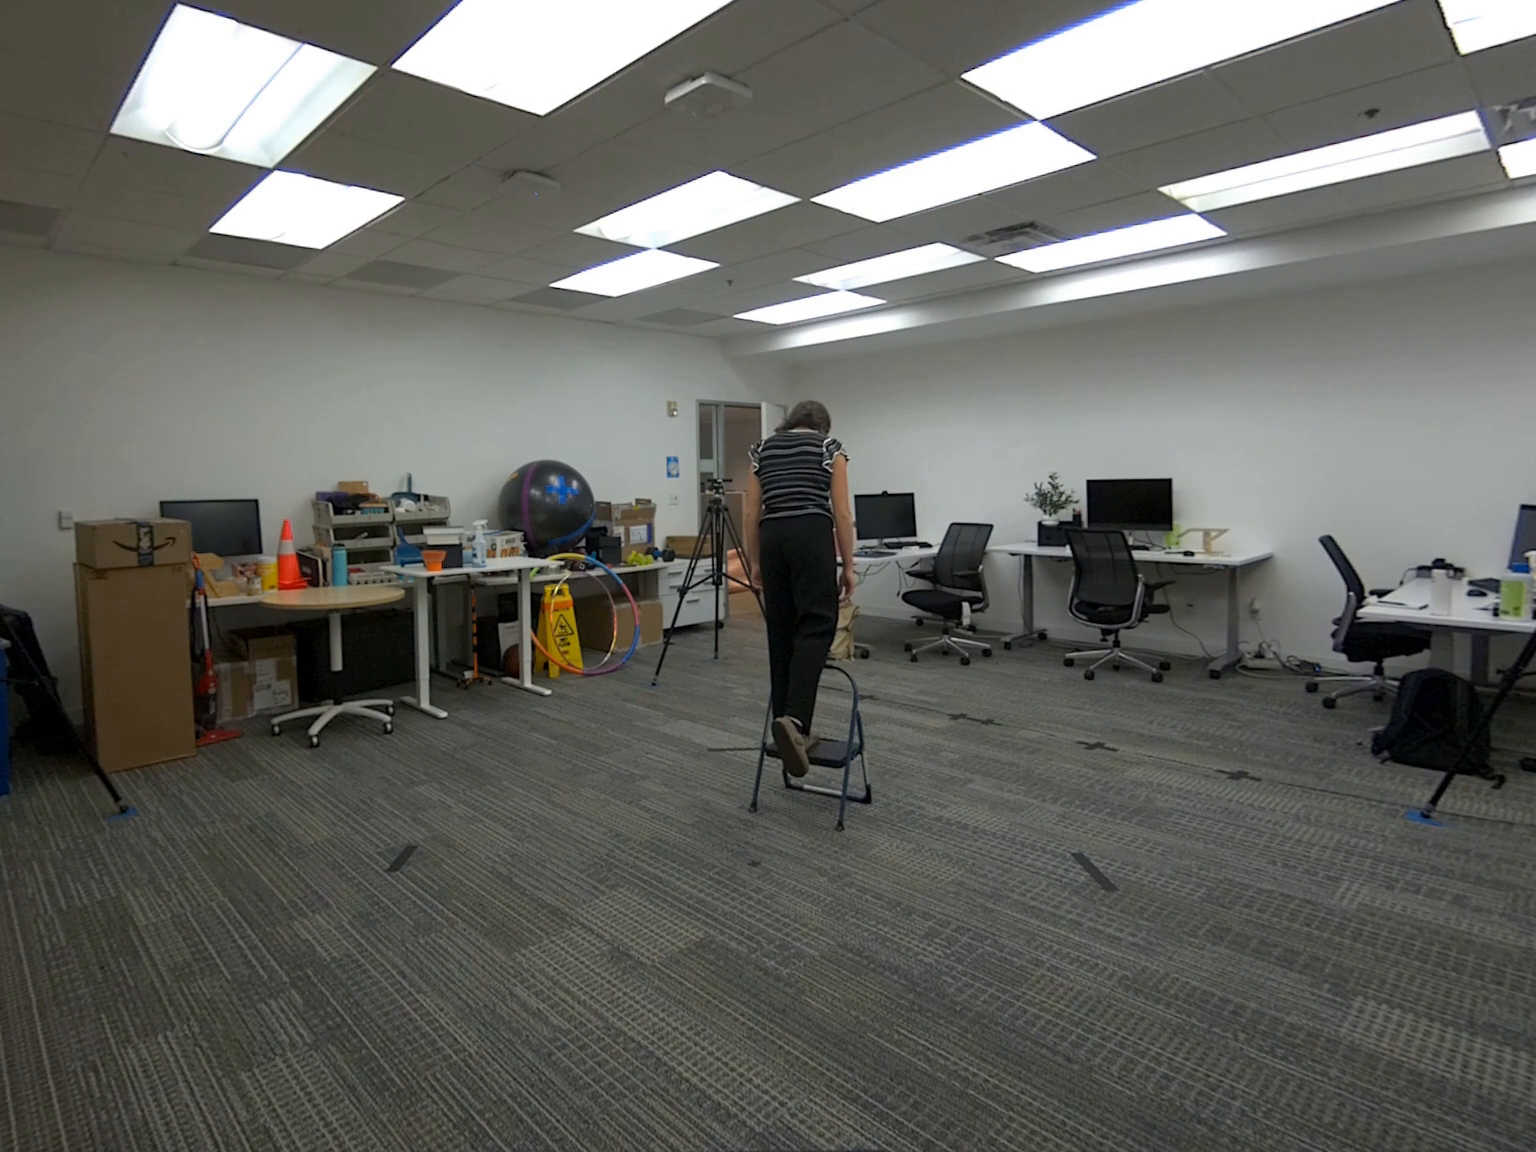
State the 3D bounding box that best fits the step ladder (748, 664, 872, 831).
[{"bbox_3d":[0.185,0.683,3.617,0.442,0.604,0.341,2,5,30],"label":"step ladder"}]
